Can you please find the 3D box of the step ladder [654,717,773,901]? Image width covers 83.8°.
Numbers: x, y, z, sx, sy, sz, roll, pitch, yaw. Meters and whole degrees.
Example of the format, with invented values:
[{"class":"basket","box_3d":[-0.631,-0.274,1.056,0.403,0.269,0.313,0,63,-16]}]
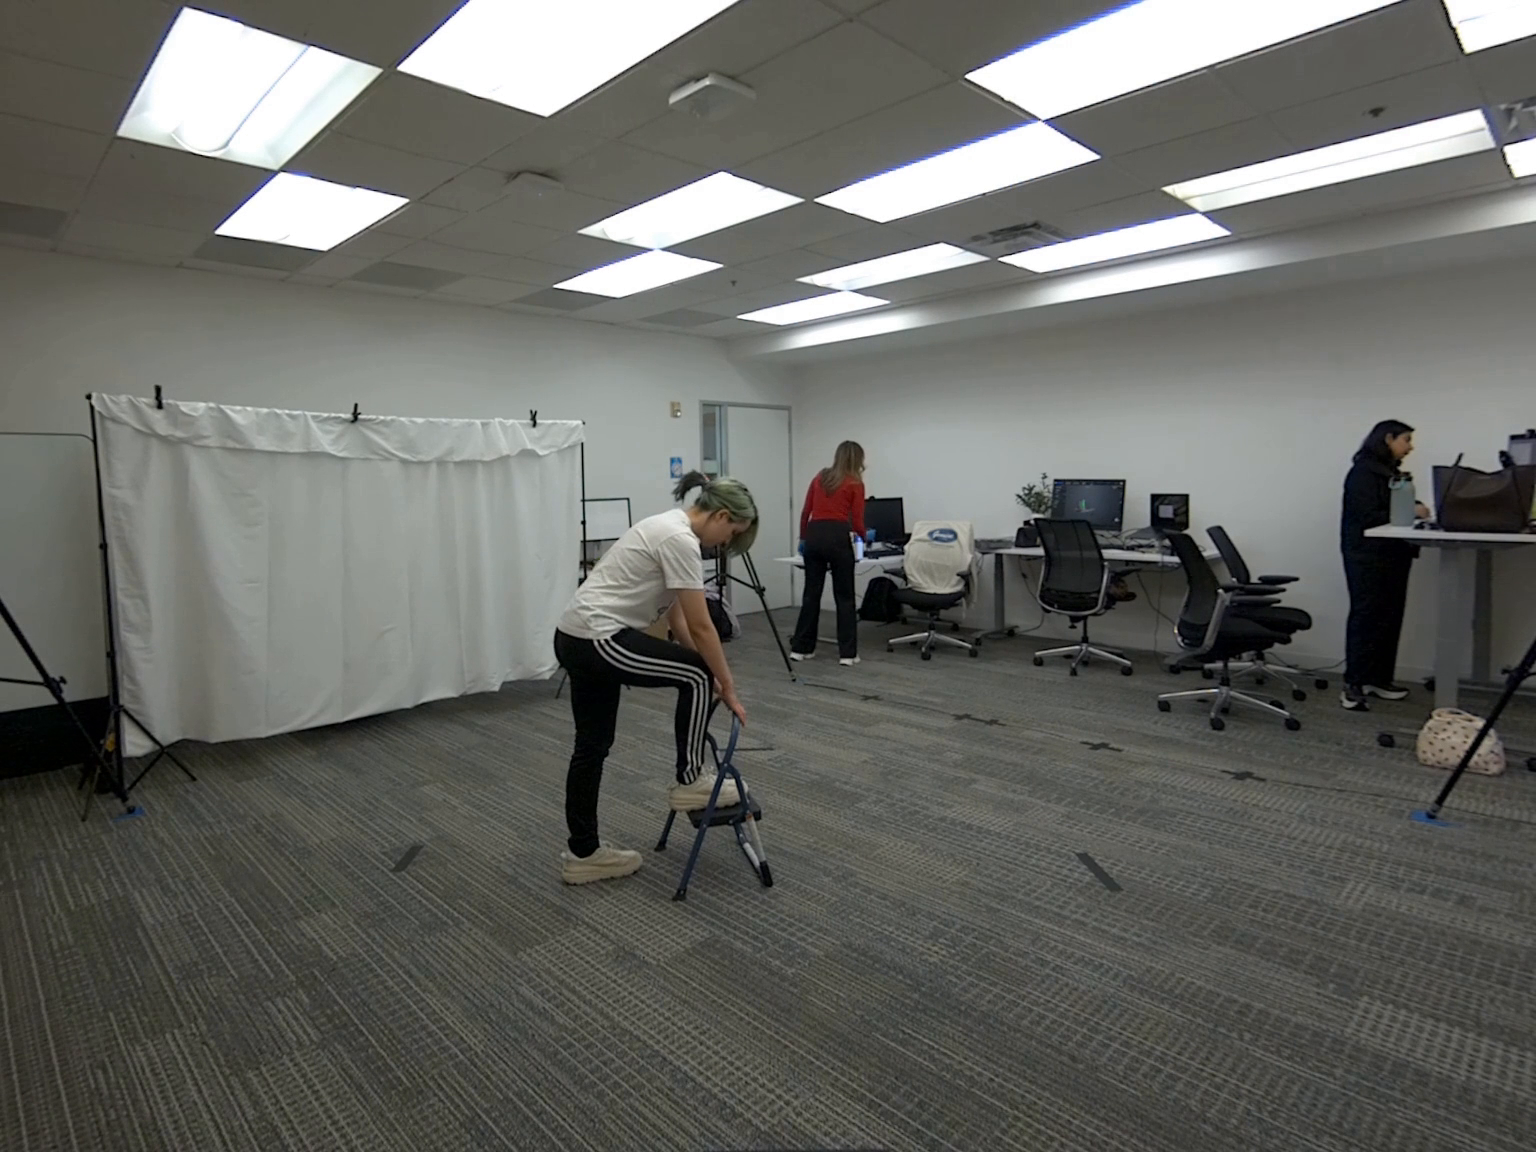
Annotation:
[{"class":"step ladder","box_3d":[-0.209,0.754,3.071,0.344,0.604,0.438,-2,5,-16]}]
